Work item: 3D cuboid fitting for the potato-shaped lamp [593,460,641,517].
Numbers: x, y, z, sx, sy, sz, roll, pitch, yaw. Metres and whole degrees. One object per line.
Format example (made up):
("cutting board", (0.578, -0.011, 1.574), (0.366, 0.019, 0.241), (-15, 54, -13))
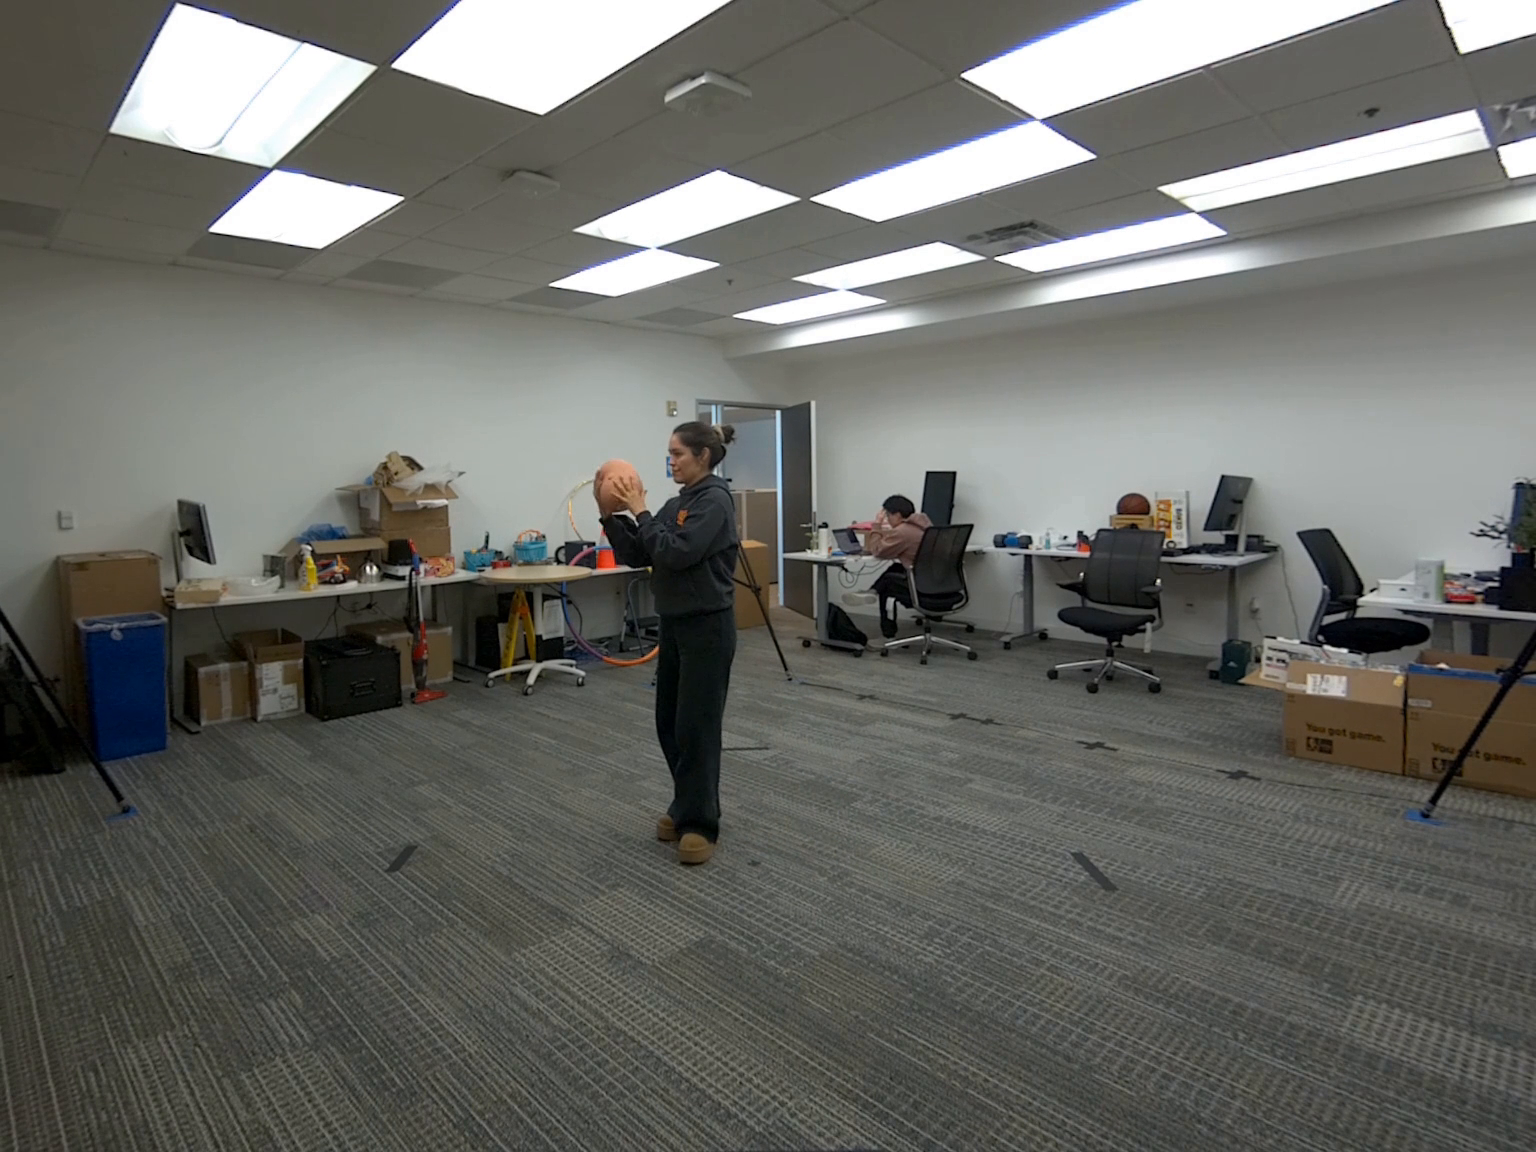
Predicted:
("potato-shaped lamp", (-0.572, -0.360, 3.294), (0.162, 0.202, 0.170), (-19, -19, -31))
